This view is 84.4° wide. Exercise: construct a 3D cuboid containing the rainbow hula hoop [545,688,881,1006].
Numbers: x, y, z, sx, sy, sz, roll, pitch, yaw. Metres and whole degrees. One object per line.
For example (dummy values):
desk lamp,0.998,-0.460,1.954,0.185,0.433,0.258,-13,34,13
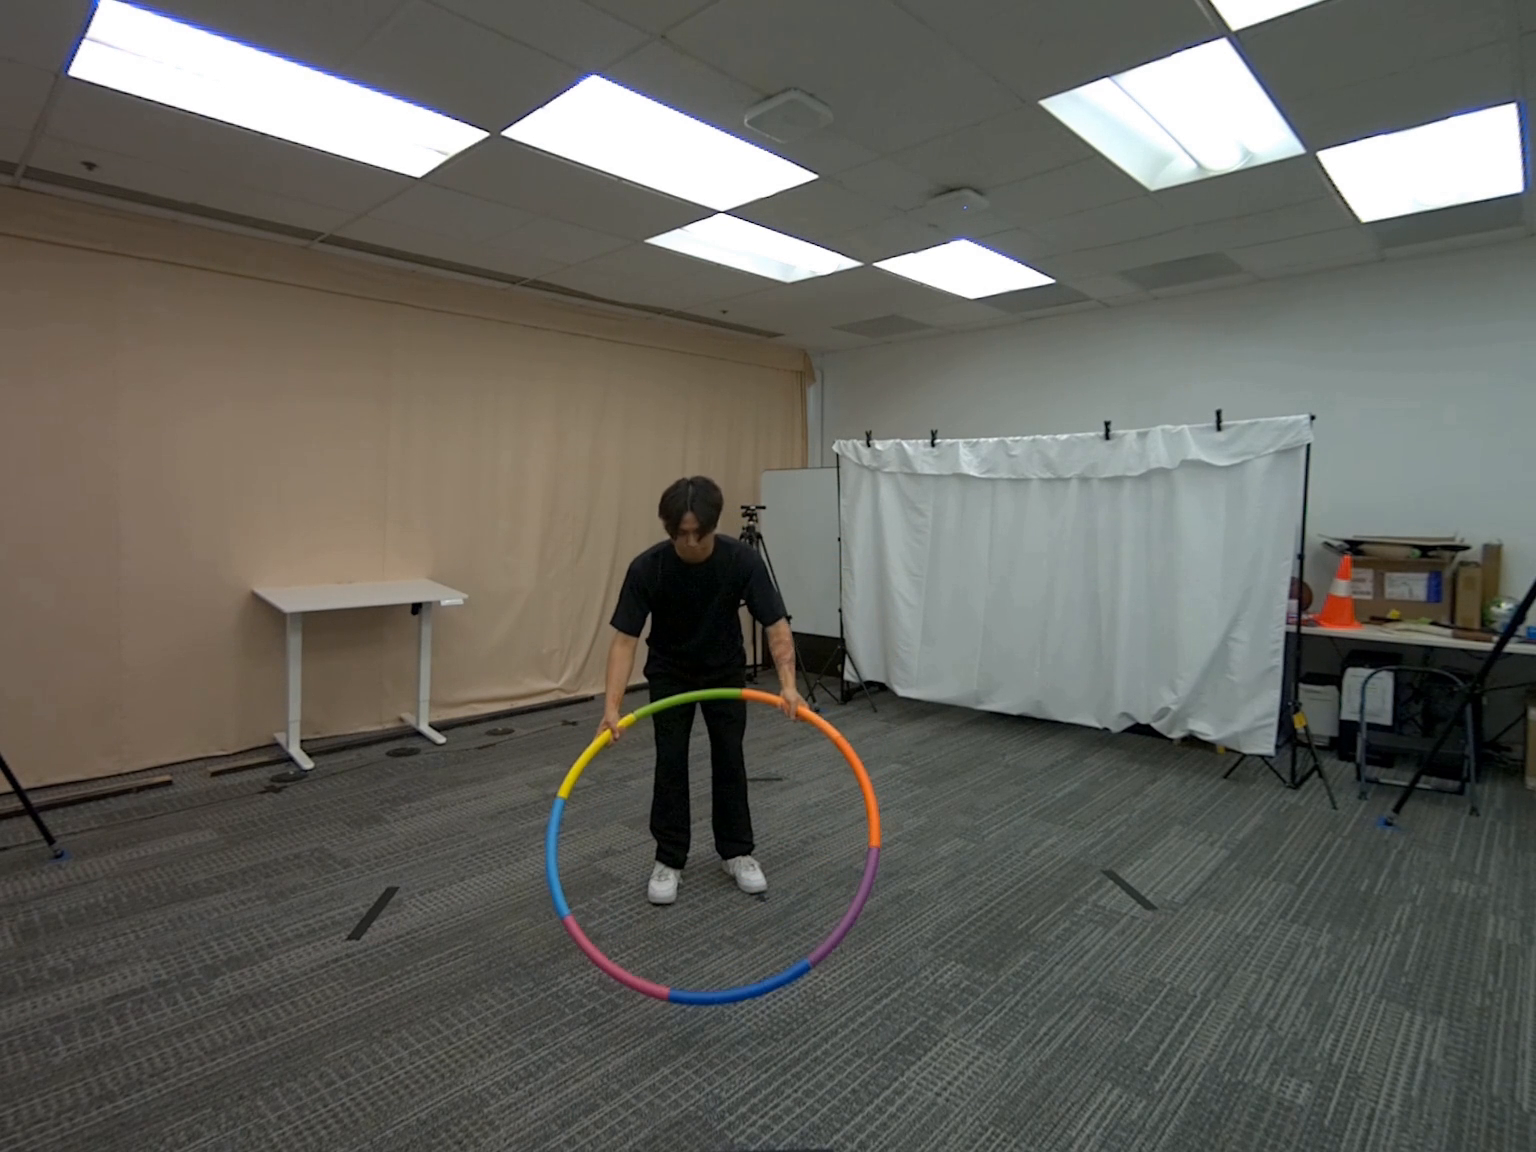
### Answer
rainbow hula hoop,-0.156,0.735,2.483,0.983,0.035,0.998,-6,45,4
